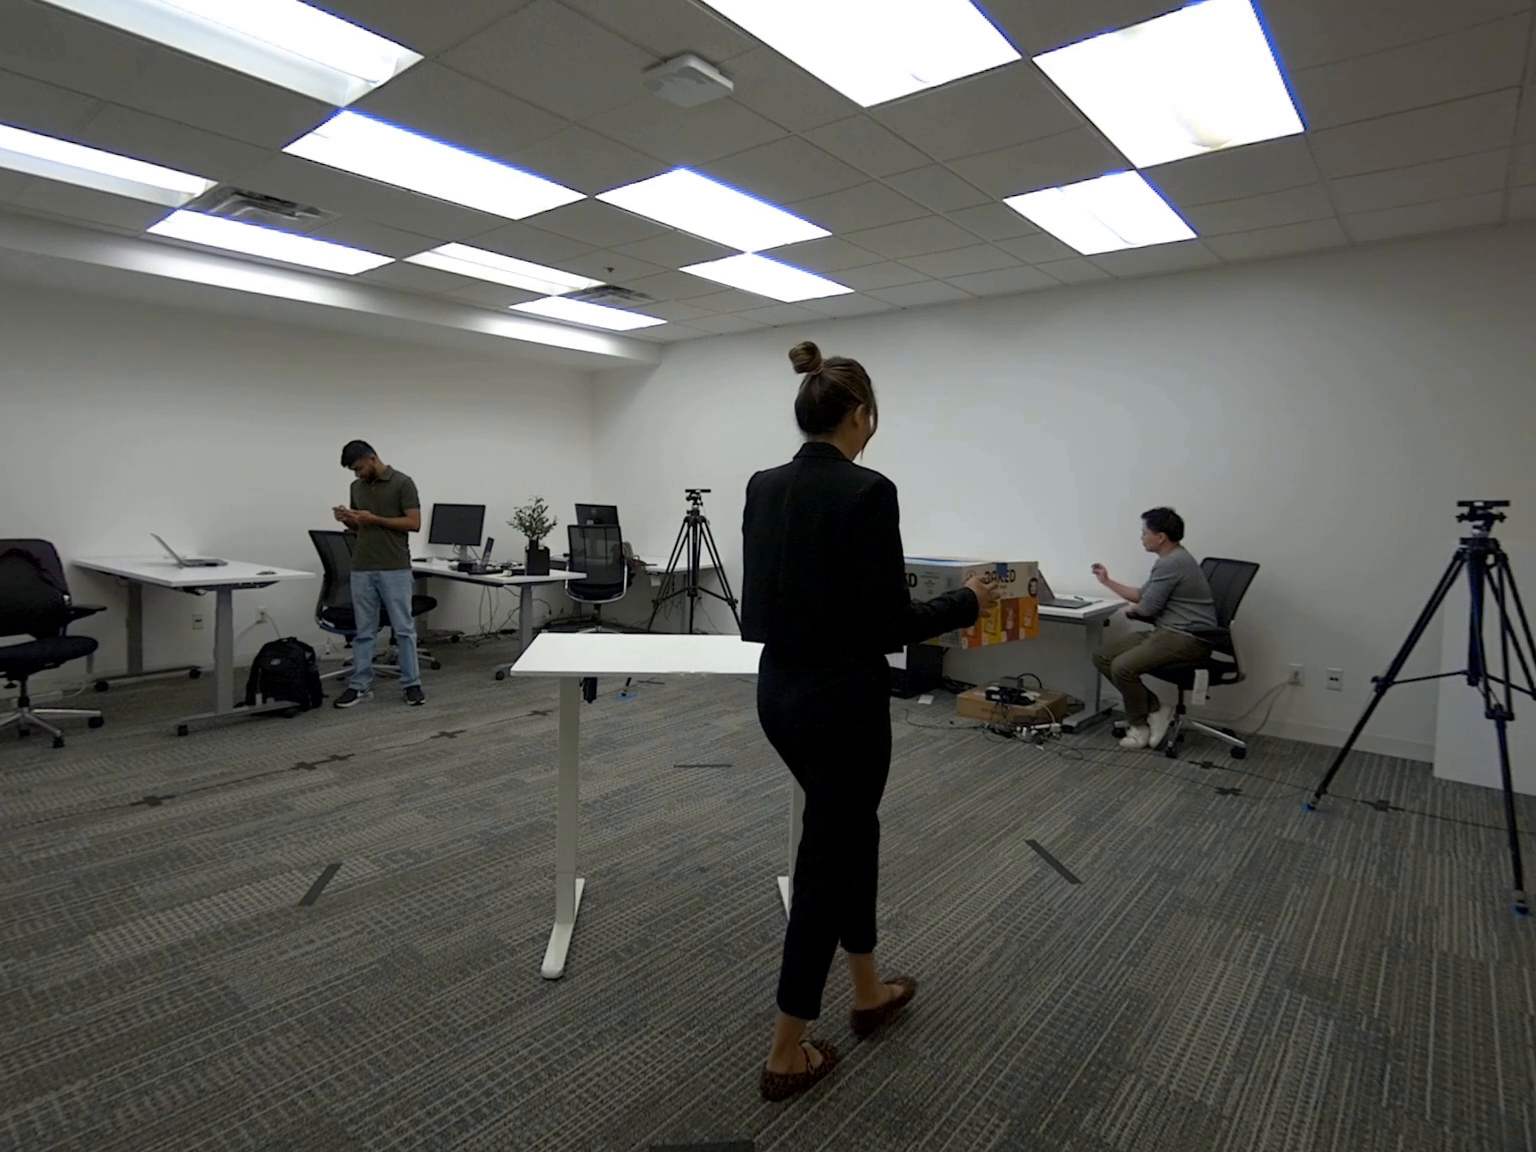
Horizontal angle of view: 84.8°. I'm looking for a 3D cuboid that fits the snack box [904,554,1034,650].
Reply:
[{"bbox_3d":[0.443,0.055,2.290,0.330,0.205,0.419,-3,5,-42],"label":"snack box"}]
